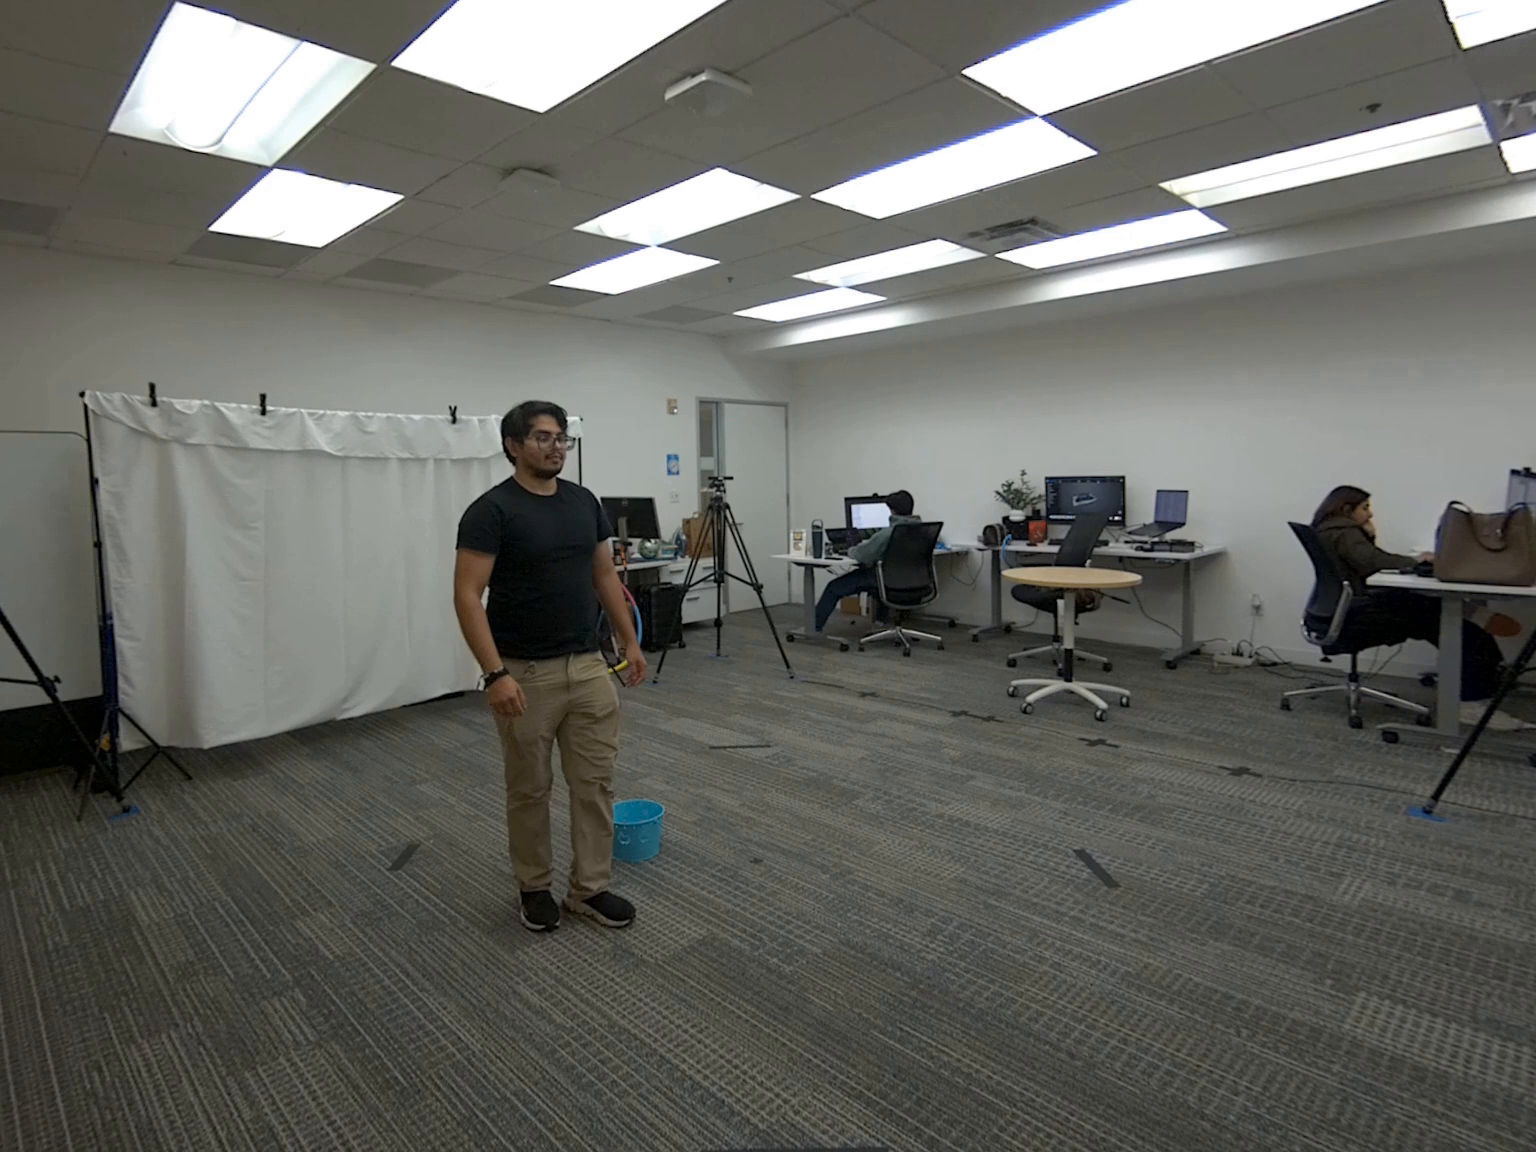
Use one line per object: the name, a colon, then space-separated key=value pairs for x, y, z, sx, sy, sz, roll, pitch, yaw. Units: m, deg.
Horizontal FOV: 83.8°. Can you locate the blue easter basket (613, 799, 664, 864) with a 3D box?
blue easter basket: x=-0.495 y=0.955 z=3.206 sx=0.243 sy=0.155 sz=0.245 roll=-1 pitch=6 yaw=-2
